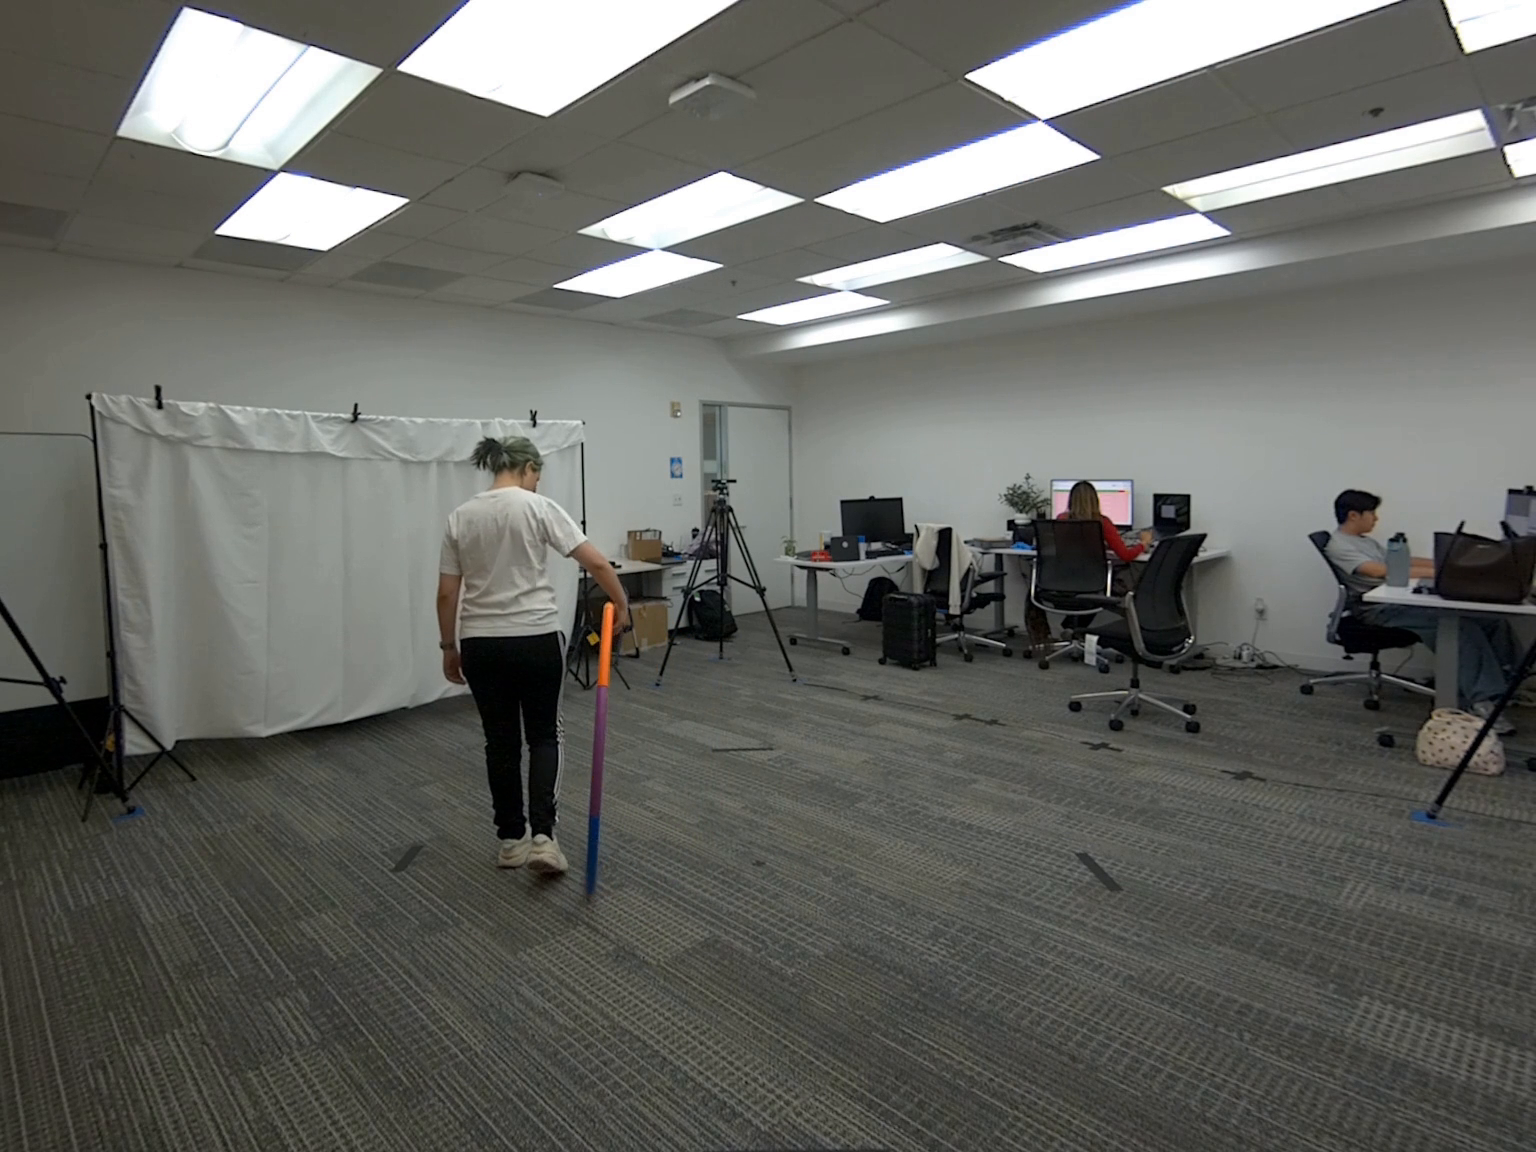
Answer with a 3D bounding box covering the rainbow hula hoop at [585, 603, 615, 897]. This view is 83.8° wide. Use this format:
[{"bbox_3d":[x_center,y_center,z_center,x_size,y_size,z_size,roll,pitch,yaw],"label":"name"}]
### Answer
[{"bbox_3d":[-0.576,0.584,2.973,0.035,0.976,0.990,6,4,-10],"label":"rainbow hula hoop"}]
